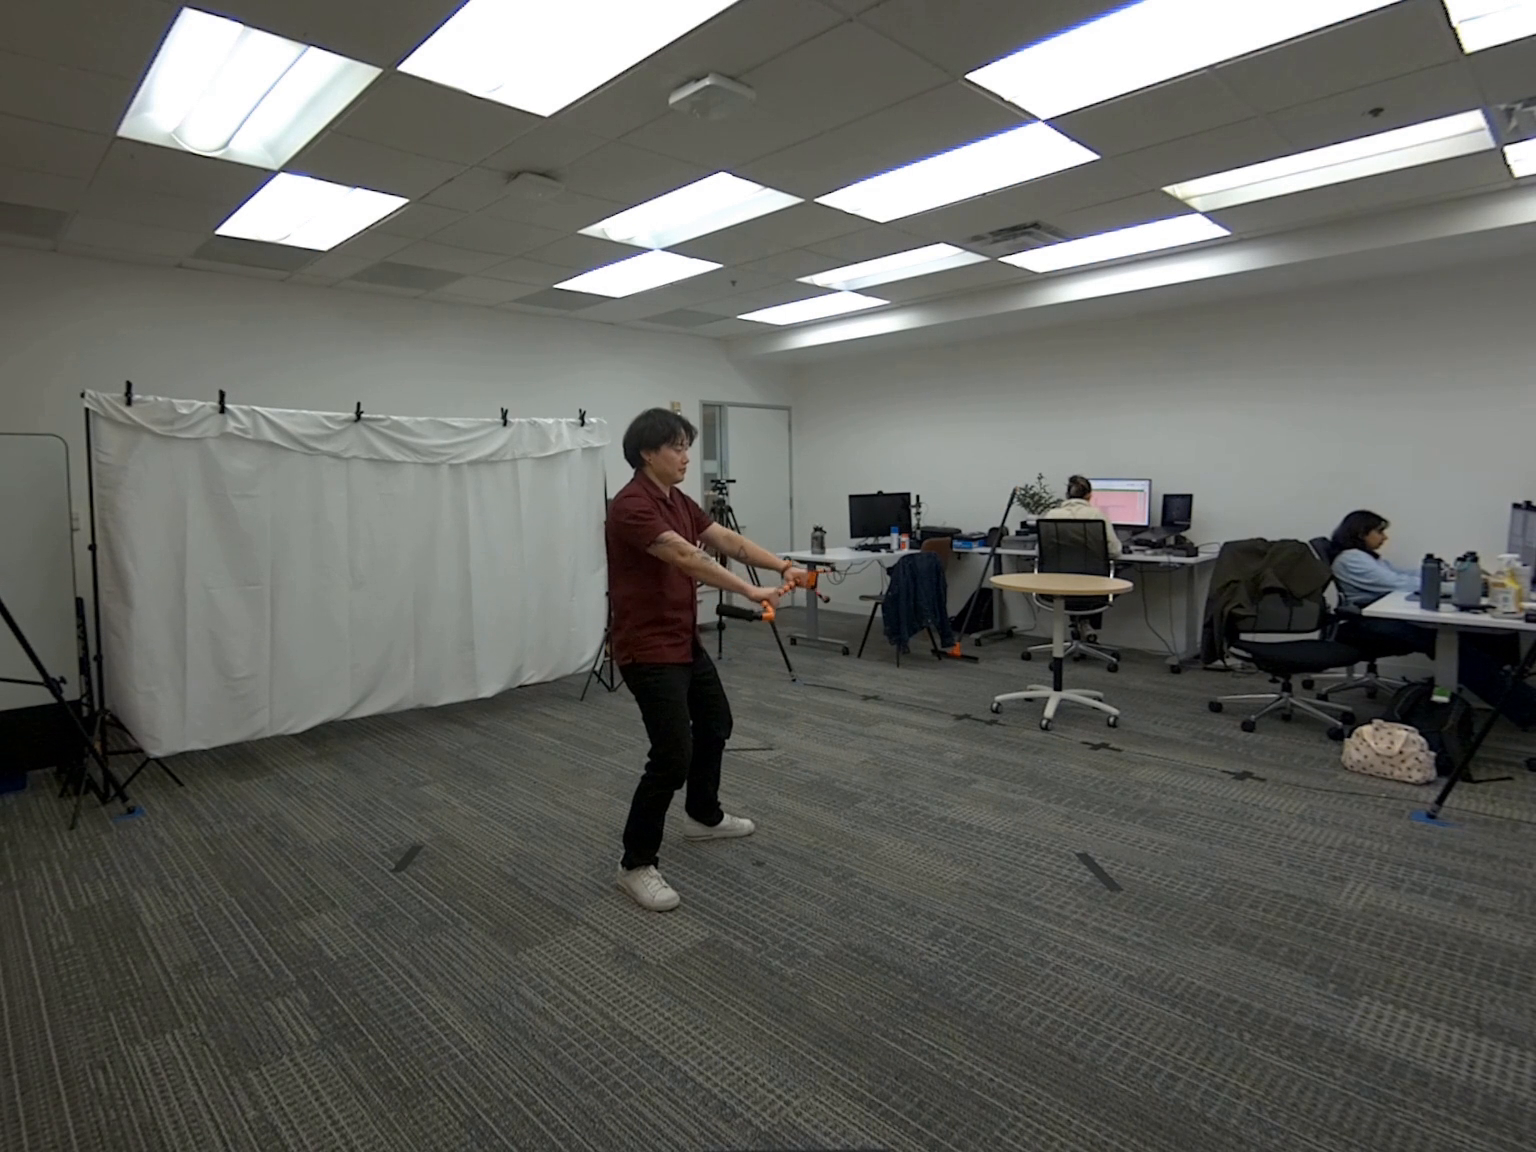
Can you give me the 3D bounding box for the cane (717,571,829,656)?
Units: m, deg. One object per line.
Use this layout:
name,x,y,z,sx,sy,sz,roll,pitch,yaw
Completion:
cane,0.047,0.072,2.869,0.210,0.150,0.899,12,10,12
